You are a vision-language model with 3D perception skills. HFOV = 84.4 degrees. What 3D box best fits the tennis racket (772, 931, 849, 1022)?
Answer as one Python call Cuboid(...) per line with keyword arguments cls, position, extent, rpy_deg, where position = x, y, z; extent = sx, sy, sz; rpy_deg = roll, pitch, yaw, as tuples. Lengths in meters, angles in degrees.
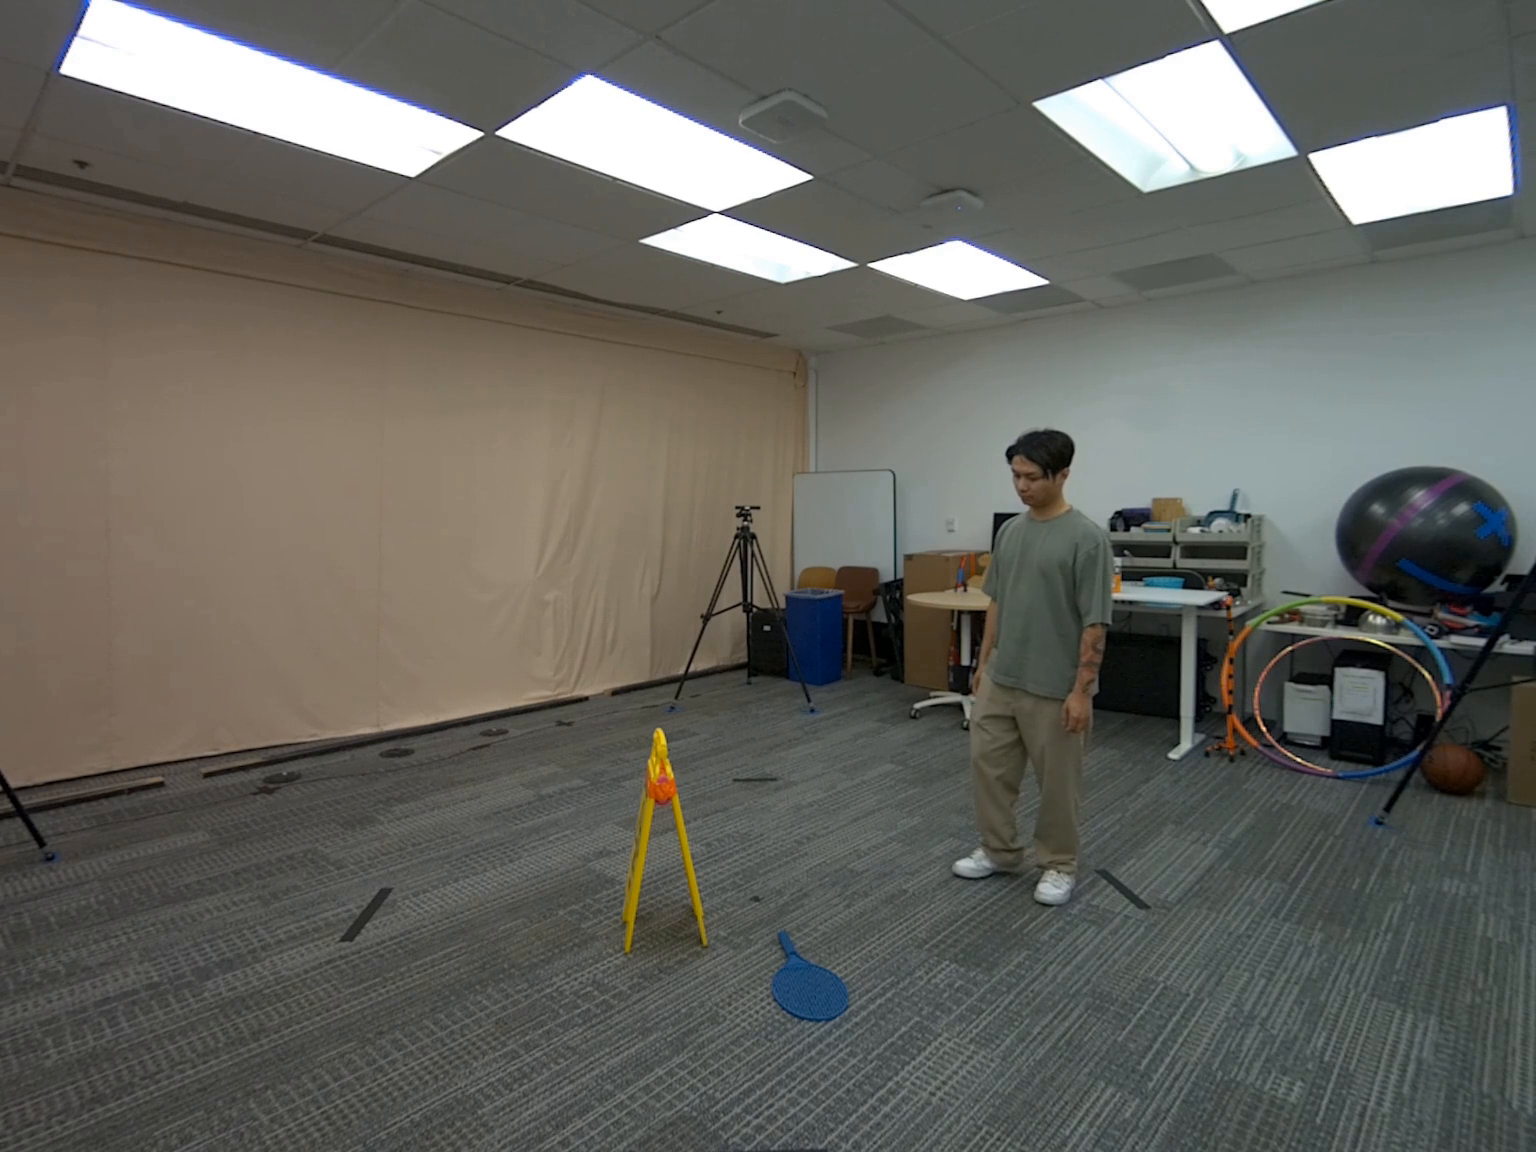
Cuboid(cls="tennis racket", position=(0.103, 1.168, 2.489), extent=(0.211, 0.031, 0.439), rpy_deg=(-1, 6, -12))
